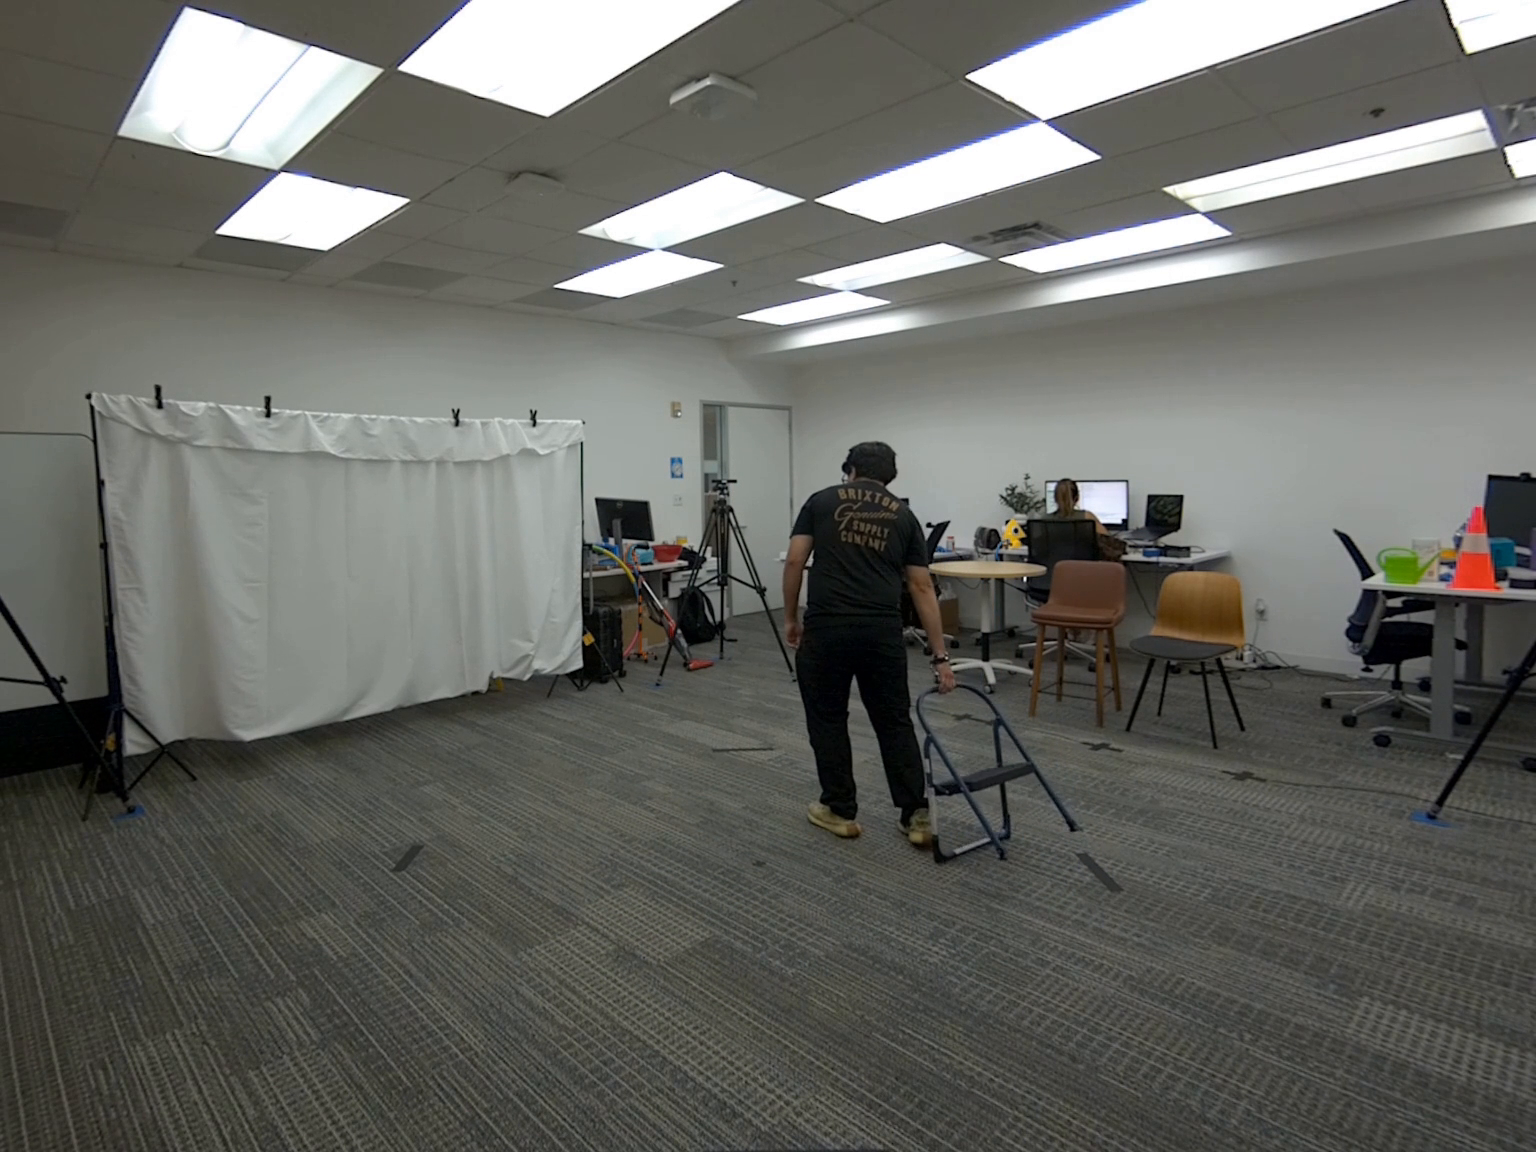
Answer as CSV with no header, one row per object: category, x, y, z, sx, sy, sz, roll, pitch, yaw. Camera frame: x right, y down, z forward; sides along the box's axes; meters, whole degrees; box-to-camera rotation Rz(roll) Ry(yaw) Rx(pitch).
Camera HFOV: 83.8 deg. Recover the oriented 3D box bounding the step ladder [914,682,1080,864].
step ladder,0.791,0.688,3.152,0.419,0.617,0.352,-3,-19,-35
